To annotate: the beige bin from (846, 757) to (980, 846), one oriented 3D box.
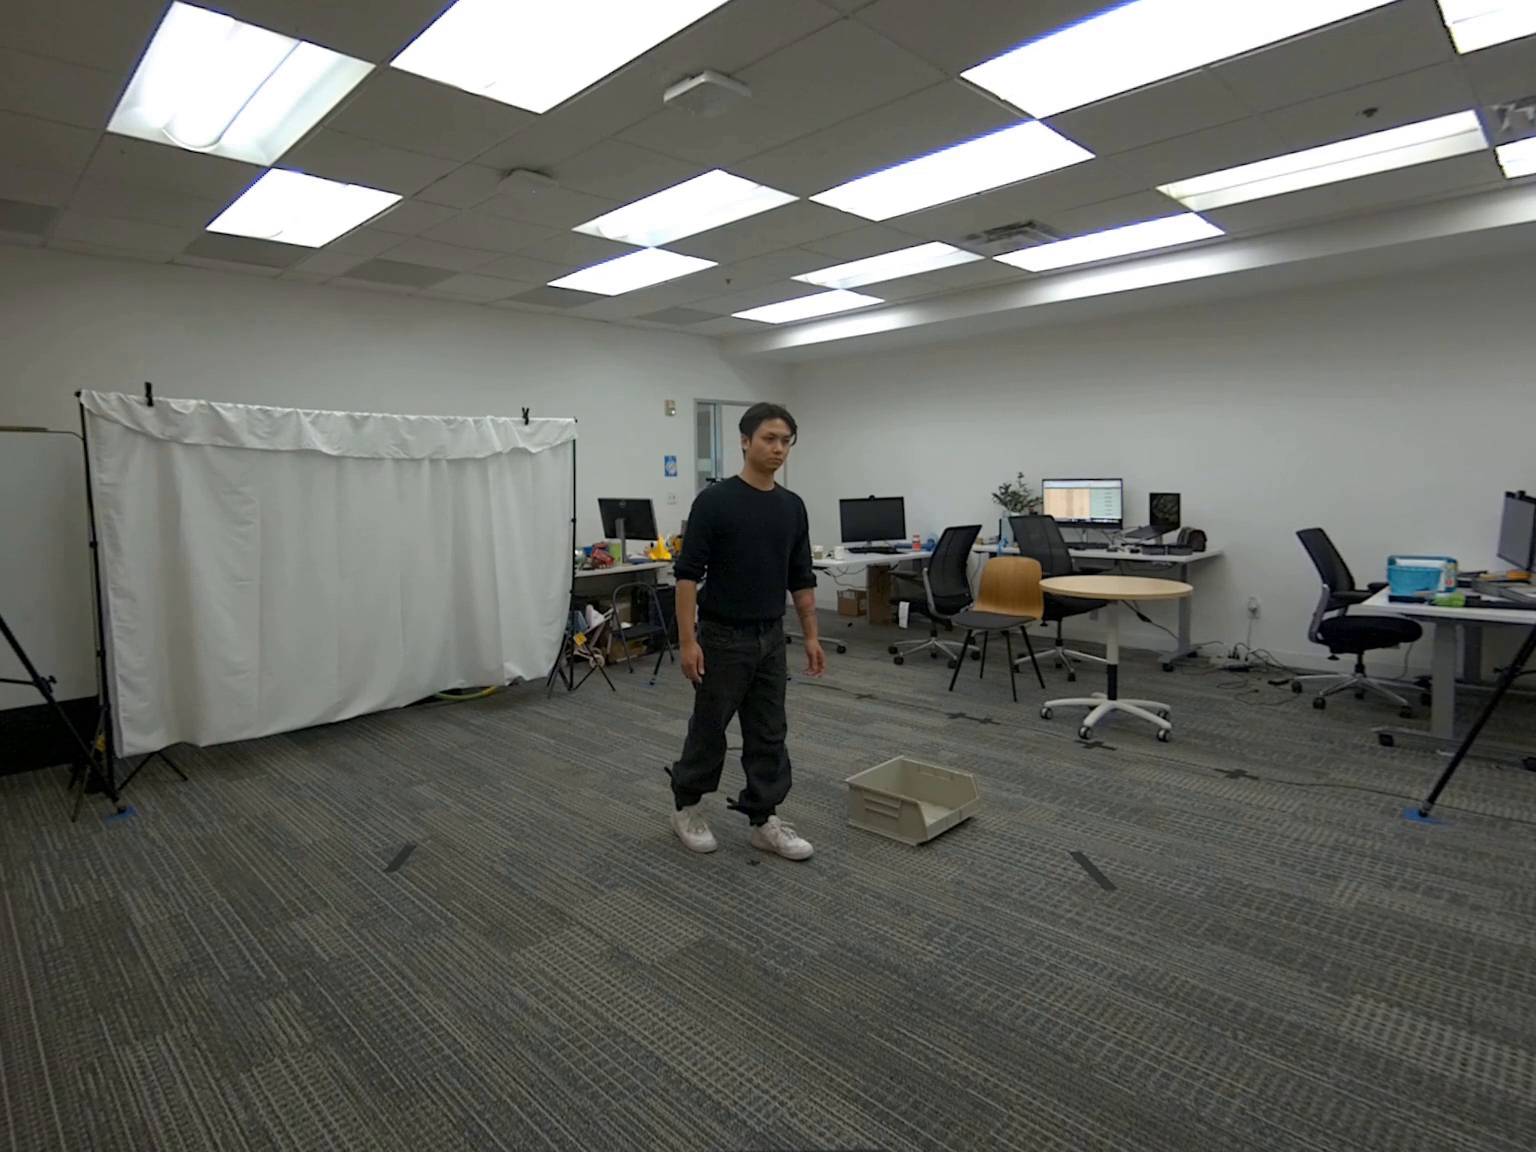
[{"bbox_3d":[0.590,0.905,3.458,0.389,0.188,0.412,4,8,43],"label":"beige bin"}]
